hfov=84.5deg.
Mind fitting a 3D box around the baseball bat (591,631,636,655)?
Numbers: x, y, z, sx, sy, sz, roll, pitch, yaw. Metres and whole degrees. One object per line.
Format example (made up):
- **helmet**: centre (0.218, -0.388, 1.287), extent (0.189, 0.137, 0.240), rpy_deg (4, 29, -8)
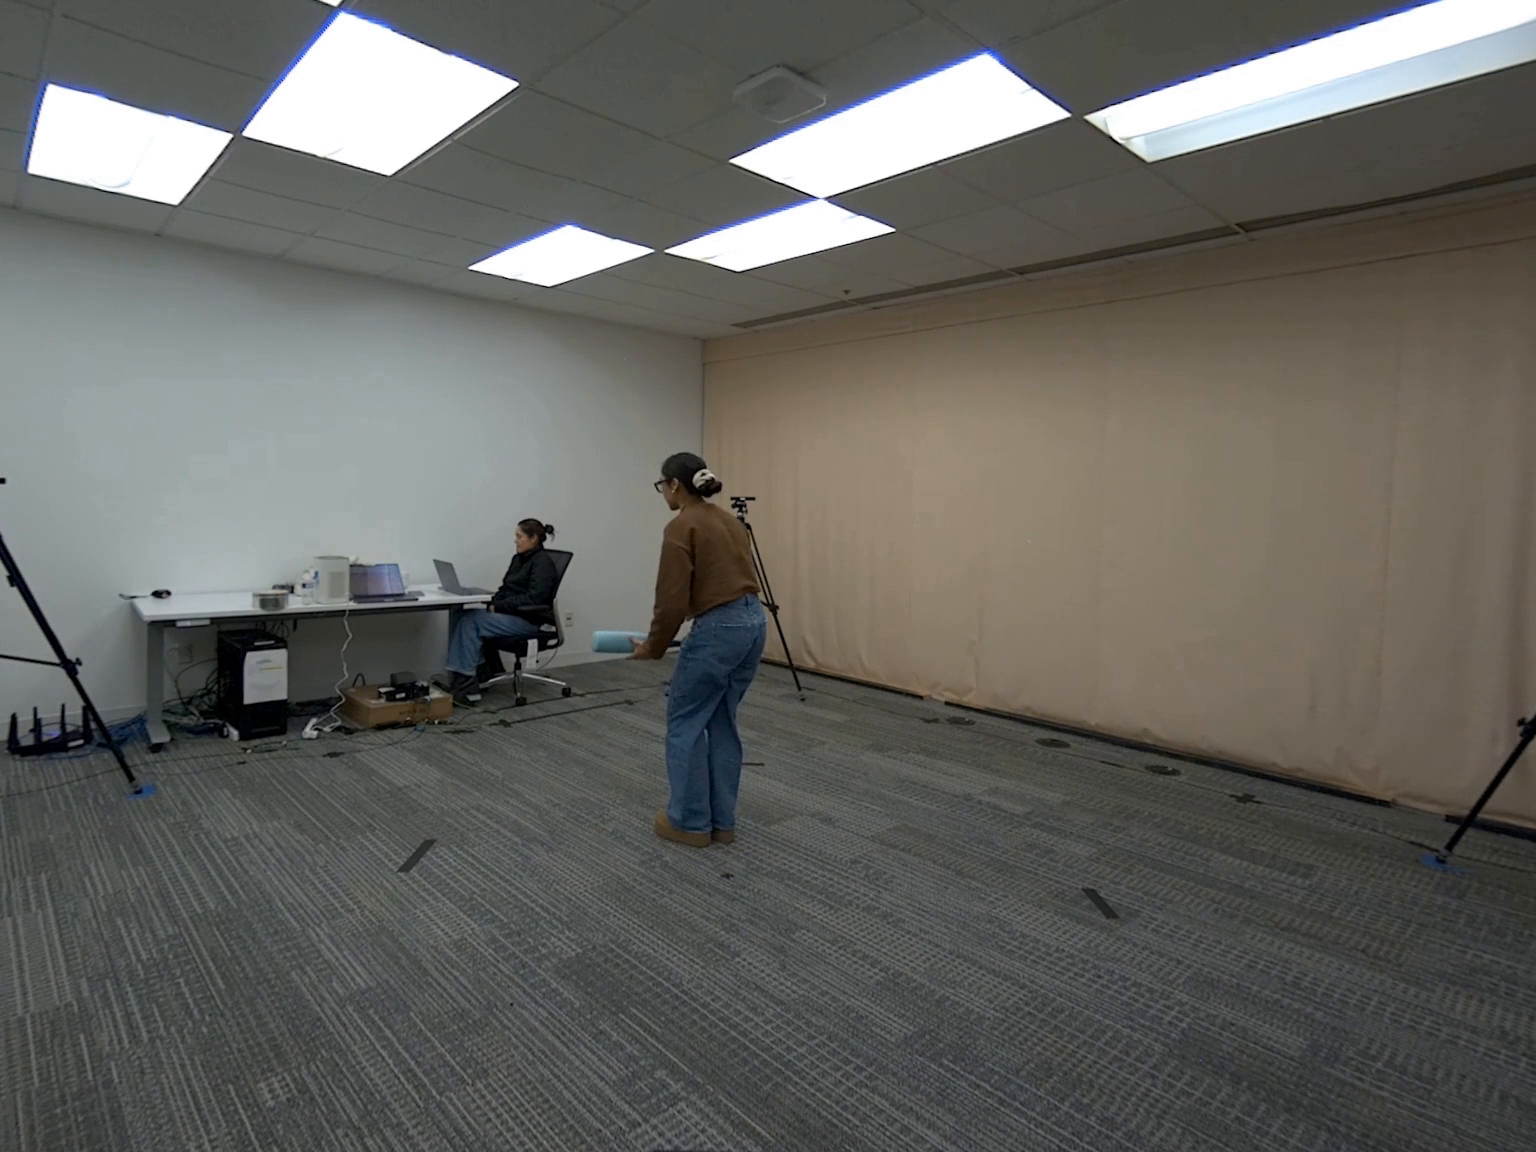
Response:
- **baseball bat**: centre (-0.459, 0.291, 3.466), extent (0.532, 0.089, 0.091), rpy_deg (5, 2, -26)
